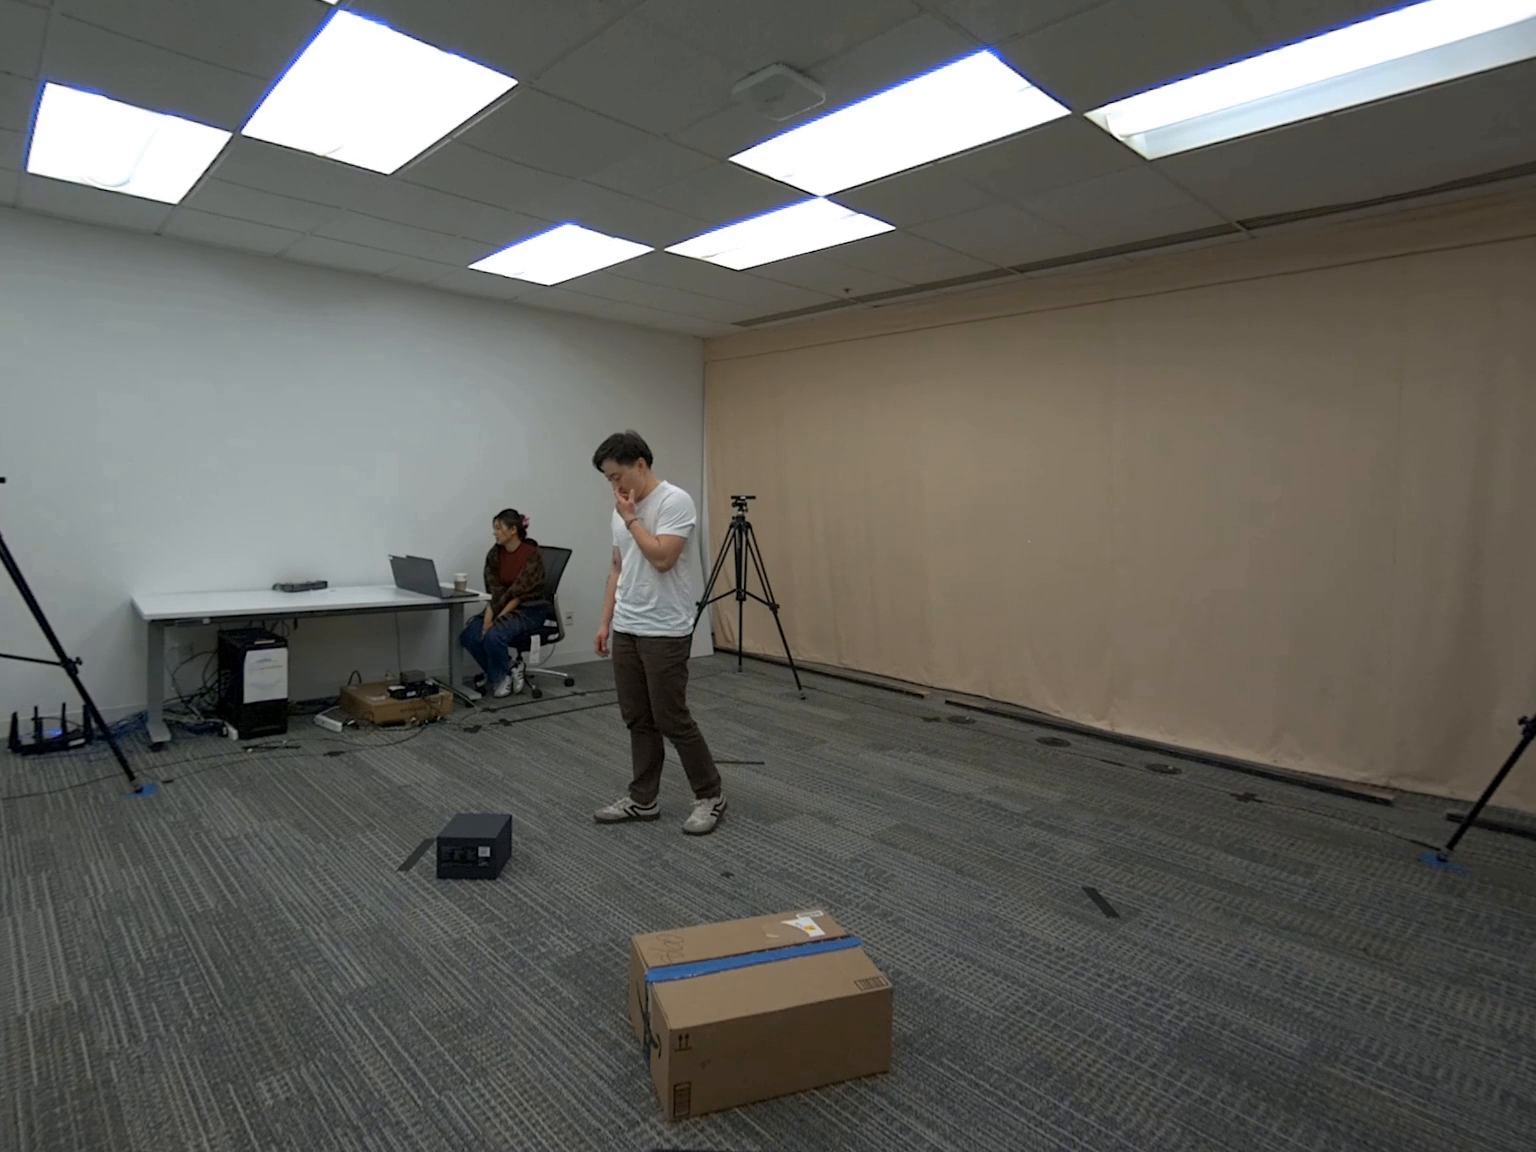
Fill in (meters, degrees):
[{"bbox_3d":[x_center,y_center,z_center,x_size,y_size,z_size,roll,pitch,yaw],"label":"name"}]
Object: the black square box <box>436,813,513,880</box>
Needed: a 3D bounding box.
[{"bbox_3d":[-1.093,0.995,3.122,0.217,0.155,0.229,1,5,-1],"label":"black square box"}]
